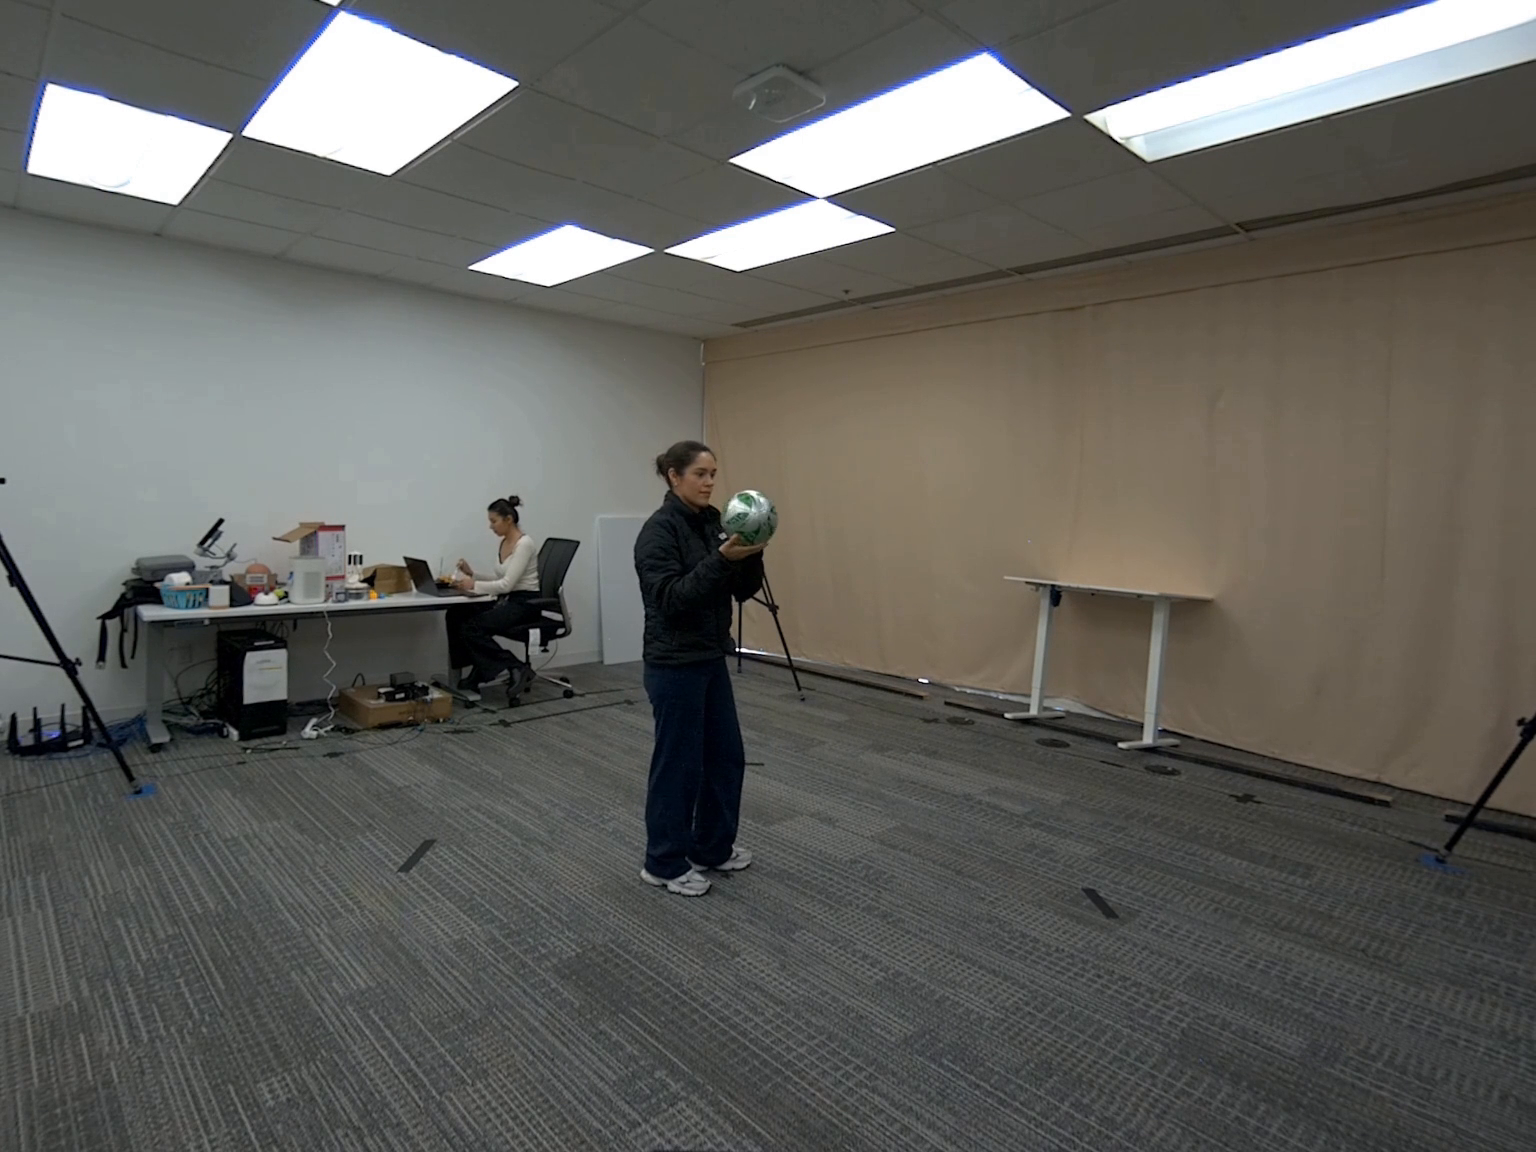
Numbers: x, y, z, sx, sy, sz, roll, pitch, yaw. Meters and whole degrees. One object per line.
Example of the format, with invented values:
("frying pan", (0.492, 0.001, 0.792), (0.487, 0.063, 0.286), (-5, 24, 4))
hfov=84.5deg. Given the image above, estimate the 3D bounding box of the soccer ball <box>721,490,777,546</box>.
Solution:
("soccer ball", (-0.062, -0.189, 2.749), (0.187, 0.187, 0.188), (1, 4, -1))
